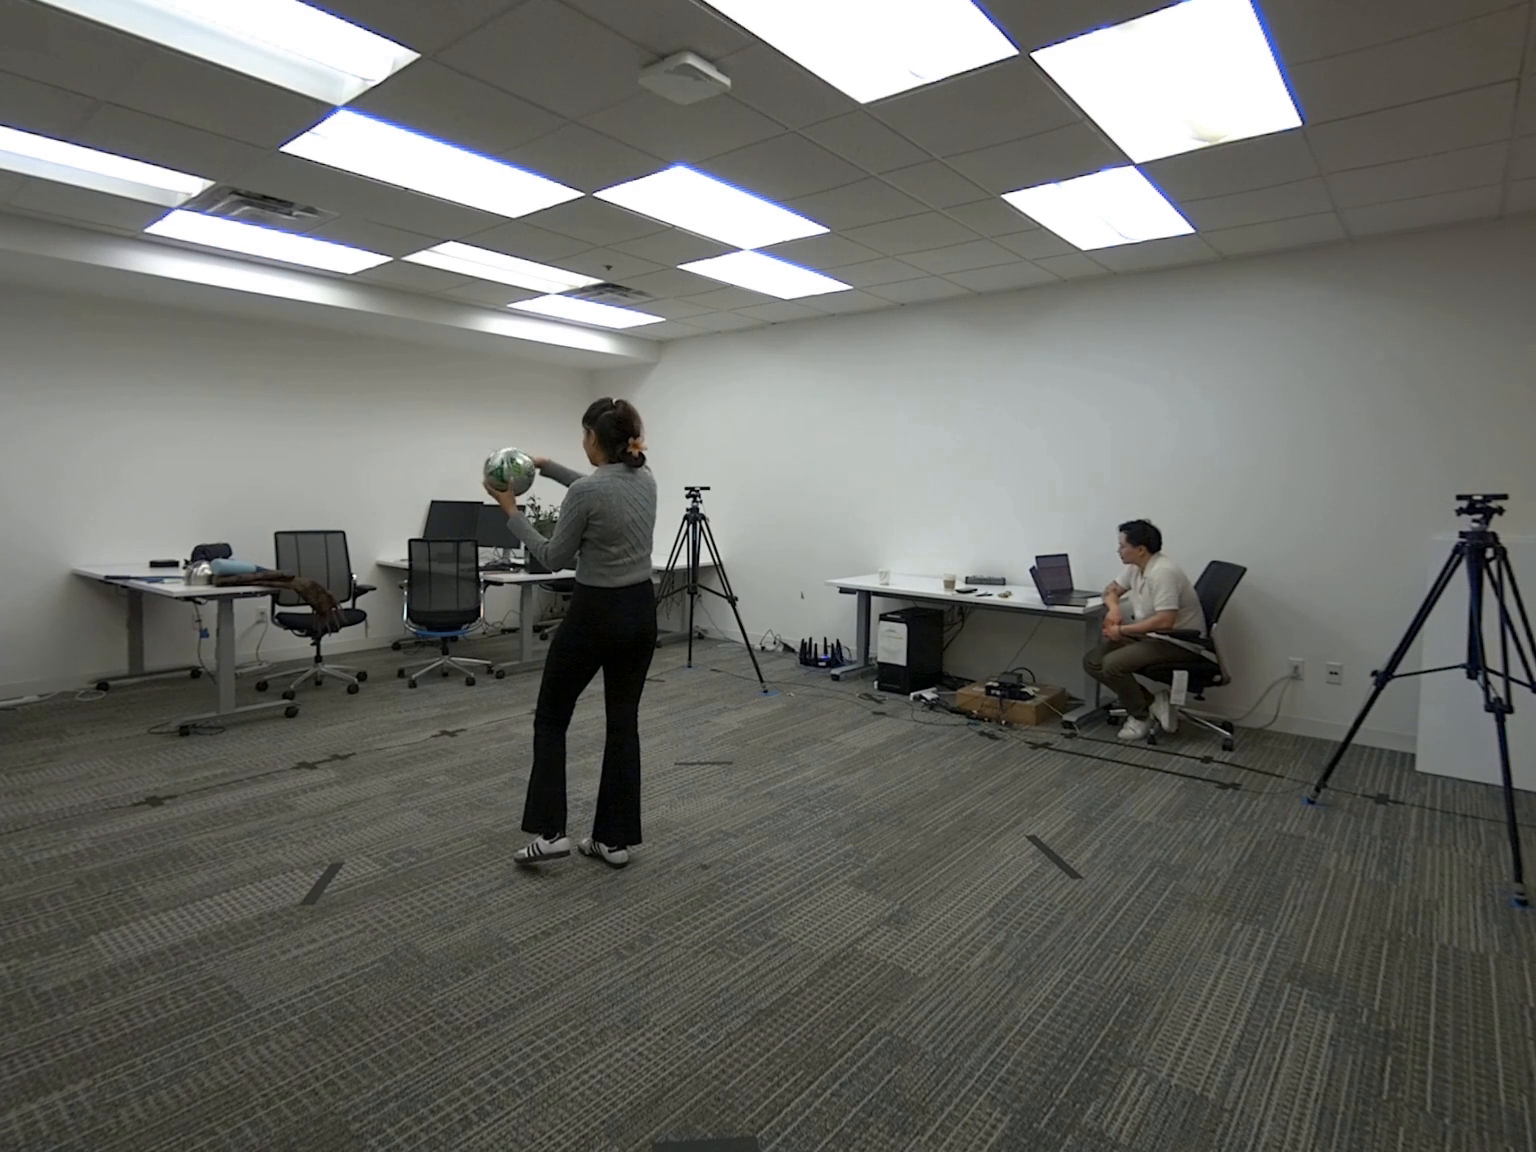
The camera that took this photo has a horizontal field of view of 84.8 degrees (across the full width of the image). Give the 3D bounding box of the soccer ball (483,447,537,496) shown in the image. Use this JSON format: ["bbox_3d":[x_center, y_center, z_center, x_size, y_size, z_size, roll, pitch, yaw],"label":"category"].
[{"bbox_3d":[-0.976,-0.383,3.166,0.187,0.187,0.188,0,4,-2],"label":"soccer ball"}]
